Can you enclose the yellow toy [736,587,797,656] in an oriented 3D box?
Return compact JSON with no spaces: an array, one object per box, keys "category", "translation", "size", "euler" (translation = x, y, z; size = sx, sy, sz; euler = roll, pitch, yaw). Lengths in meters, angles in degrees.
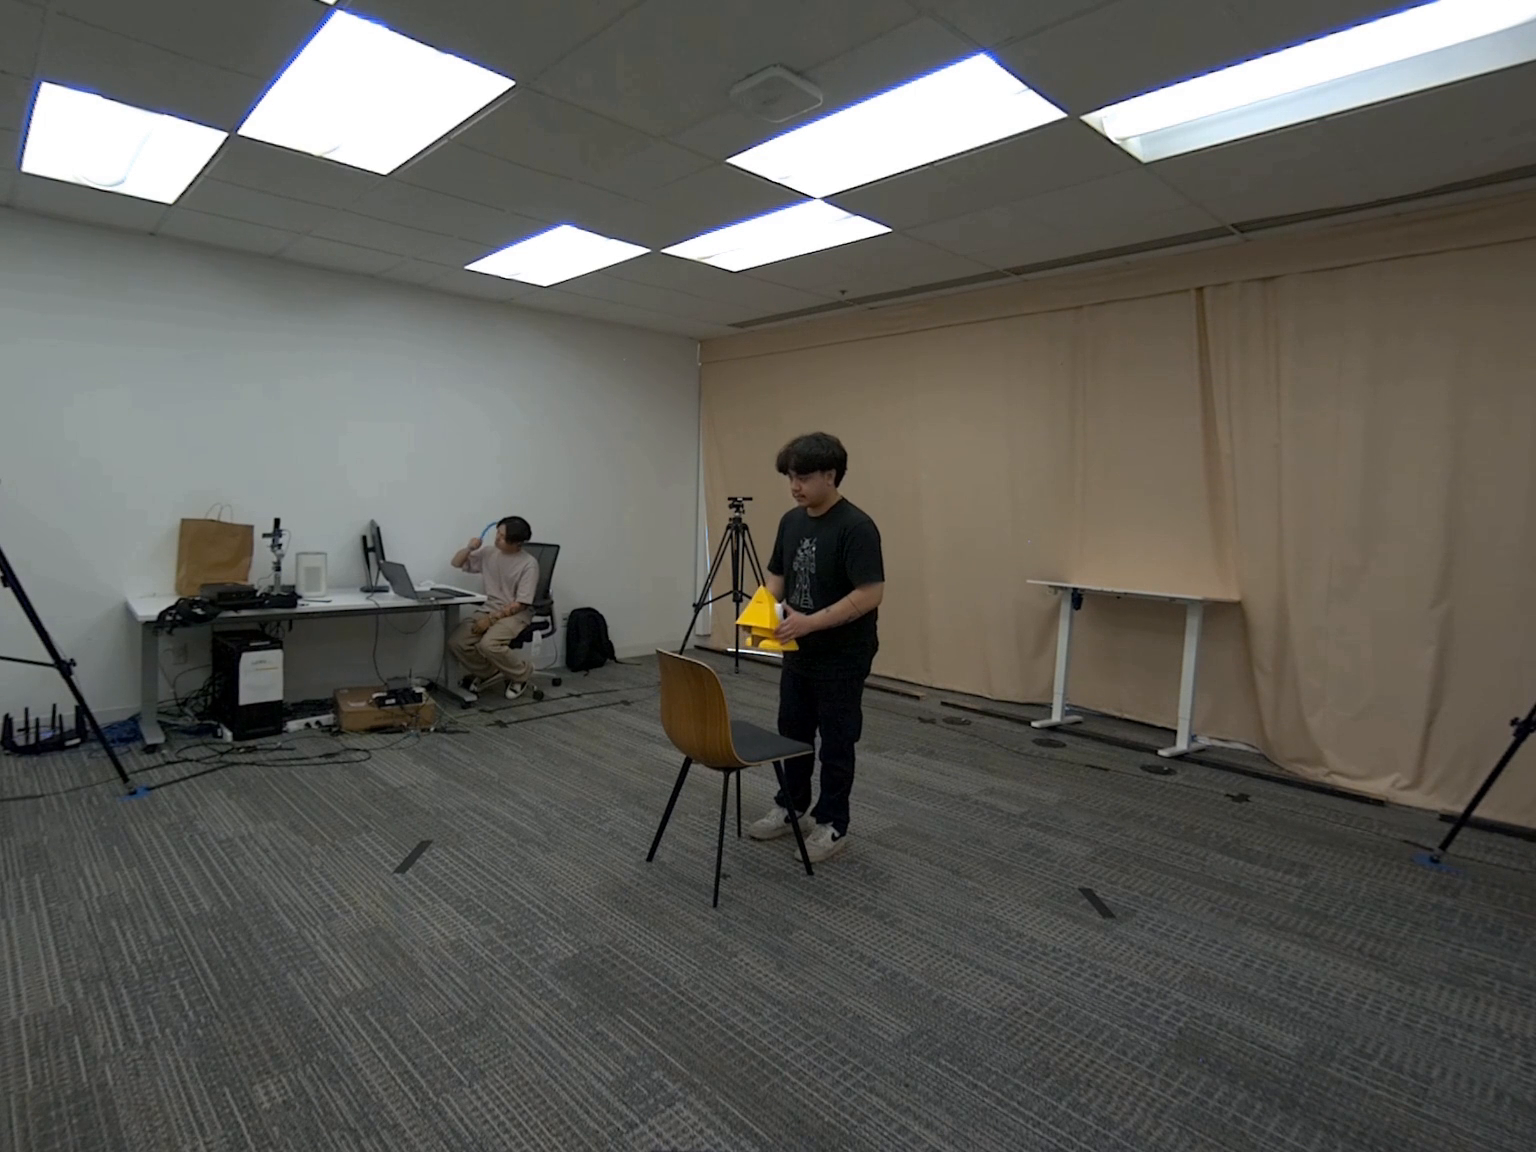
[{"category":"yellow toy","translation":[0.010,0.156,3.176],"size":[0.188,0.231,0.209],"euler":[6,-2,-35]}]
